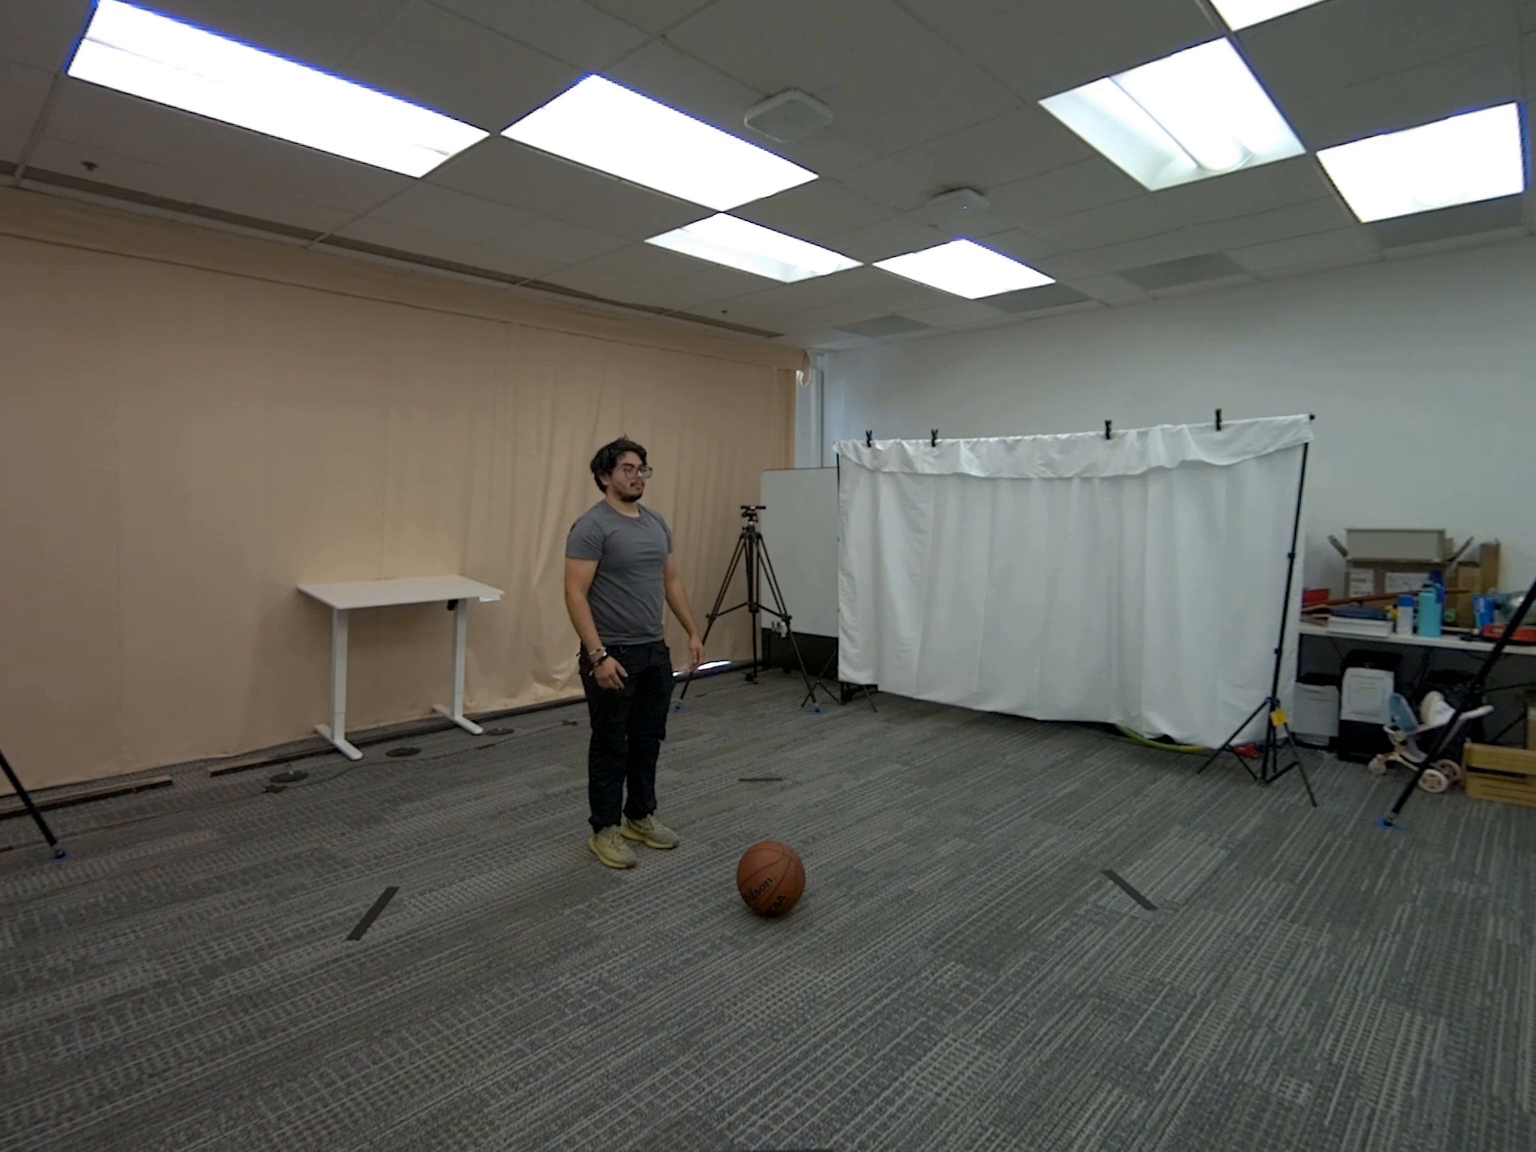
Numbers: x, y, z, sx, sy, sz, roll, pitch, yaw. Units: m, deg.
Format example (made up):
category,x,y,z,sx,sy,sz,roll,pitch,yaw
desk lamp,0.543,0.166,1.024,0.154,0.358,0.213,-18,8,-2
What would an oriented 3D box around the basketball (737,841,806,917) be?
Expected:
category,x,y,z,sx,sy,sz,roll,pitch,yaw
basketball,0.008,1.031,2.881,0.236,0.235,0.237,0,4,-2
